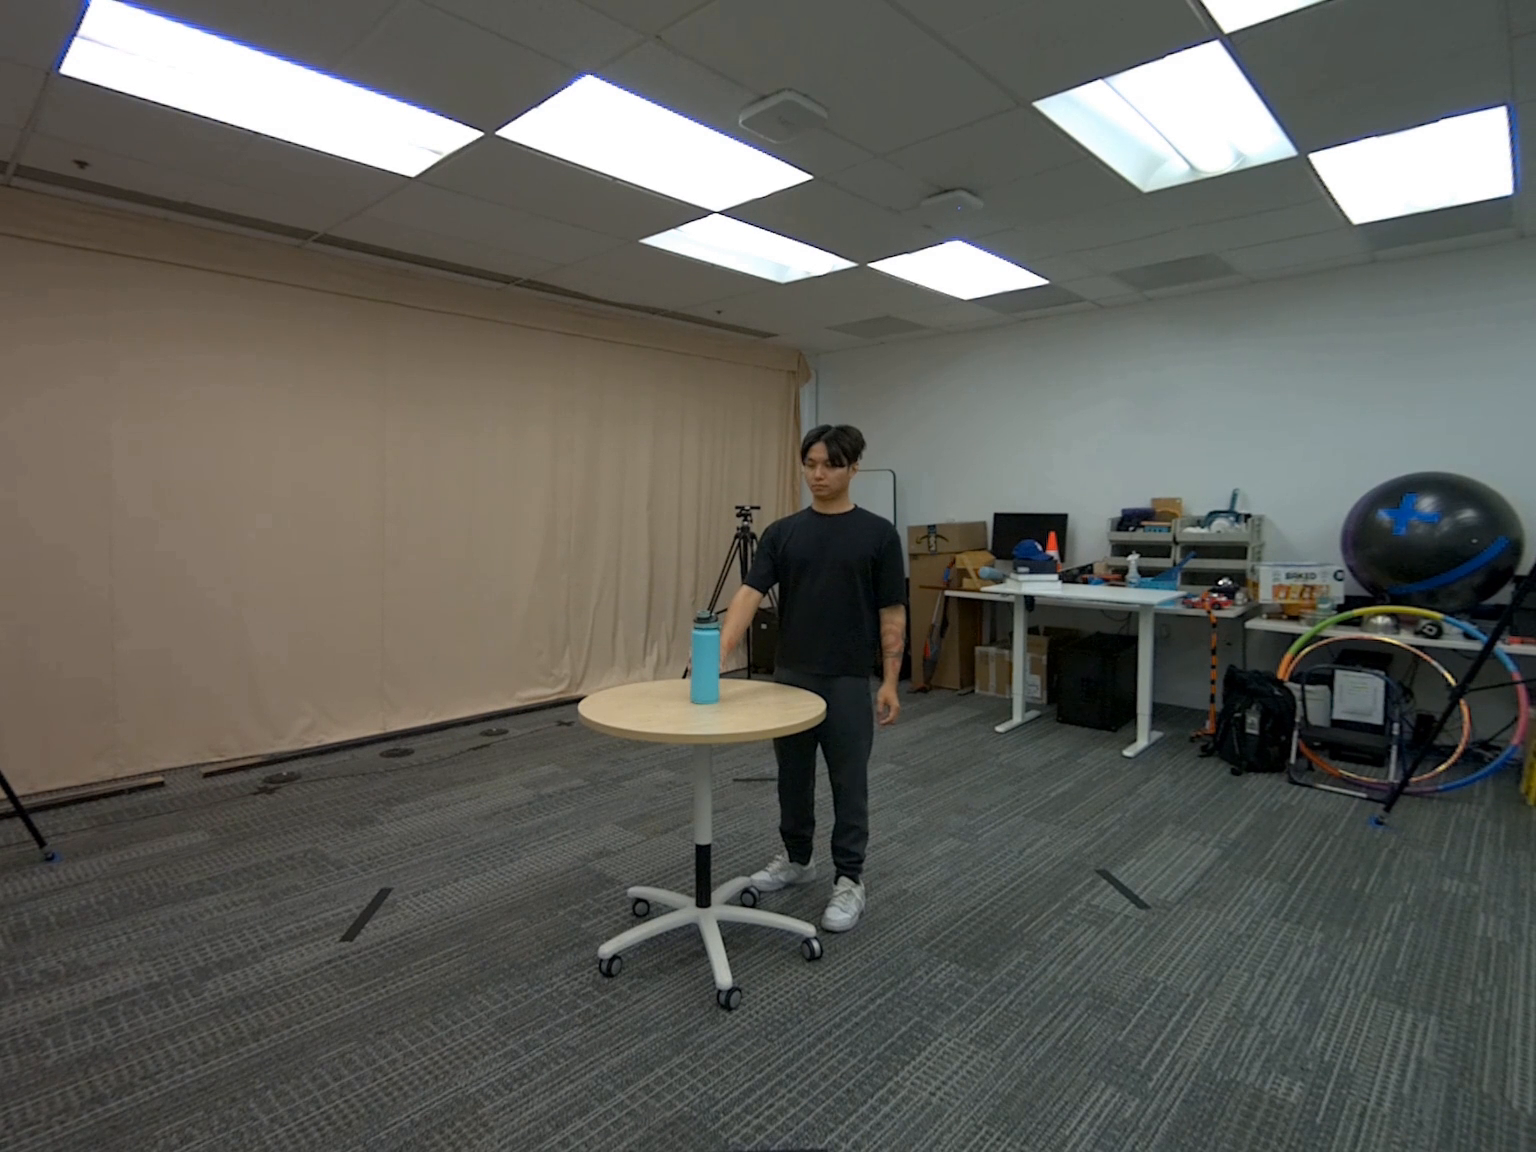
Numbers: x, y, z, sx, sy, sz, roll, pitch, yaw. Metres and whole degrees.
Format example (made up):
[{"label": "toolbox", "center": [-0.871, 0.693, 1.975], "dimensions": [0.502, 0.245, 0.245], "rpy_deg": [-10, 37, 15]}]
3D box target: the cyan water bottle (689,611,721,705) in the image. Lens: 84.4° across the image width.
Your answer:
[{"label": "cyan water bottle", "center": [-0.193, 0.252, 2.625], "dimensions": [0.092, 0.283, 0.092], "rpy_deg": [2, 0, -2]}]
